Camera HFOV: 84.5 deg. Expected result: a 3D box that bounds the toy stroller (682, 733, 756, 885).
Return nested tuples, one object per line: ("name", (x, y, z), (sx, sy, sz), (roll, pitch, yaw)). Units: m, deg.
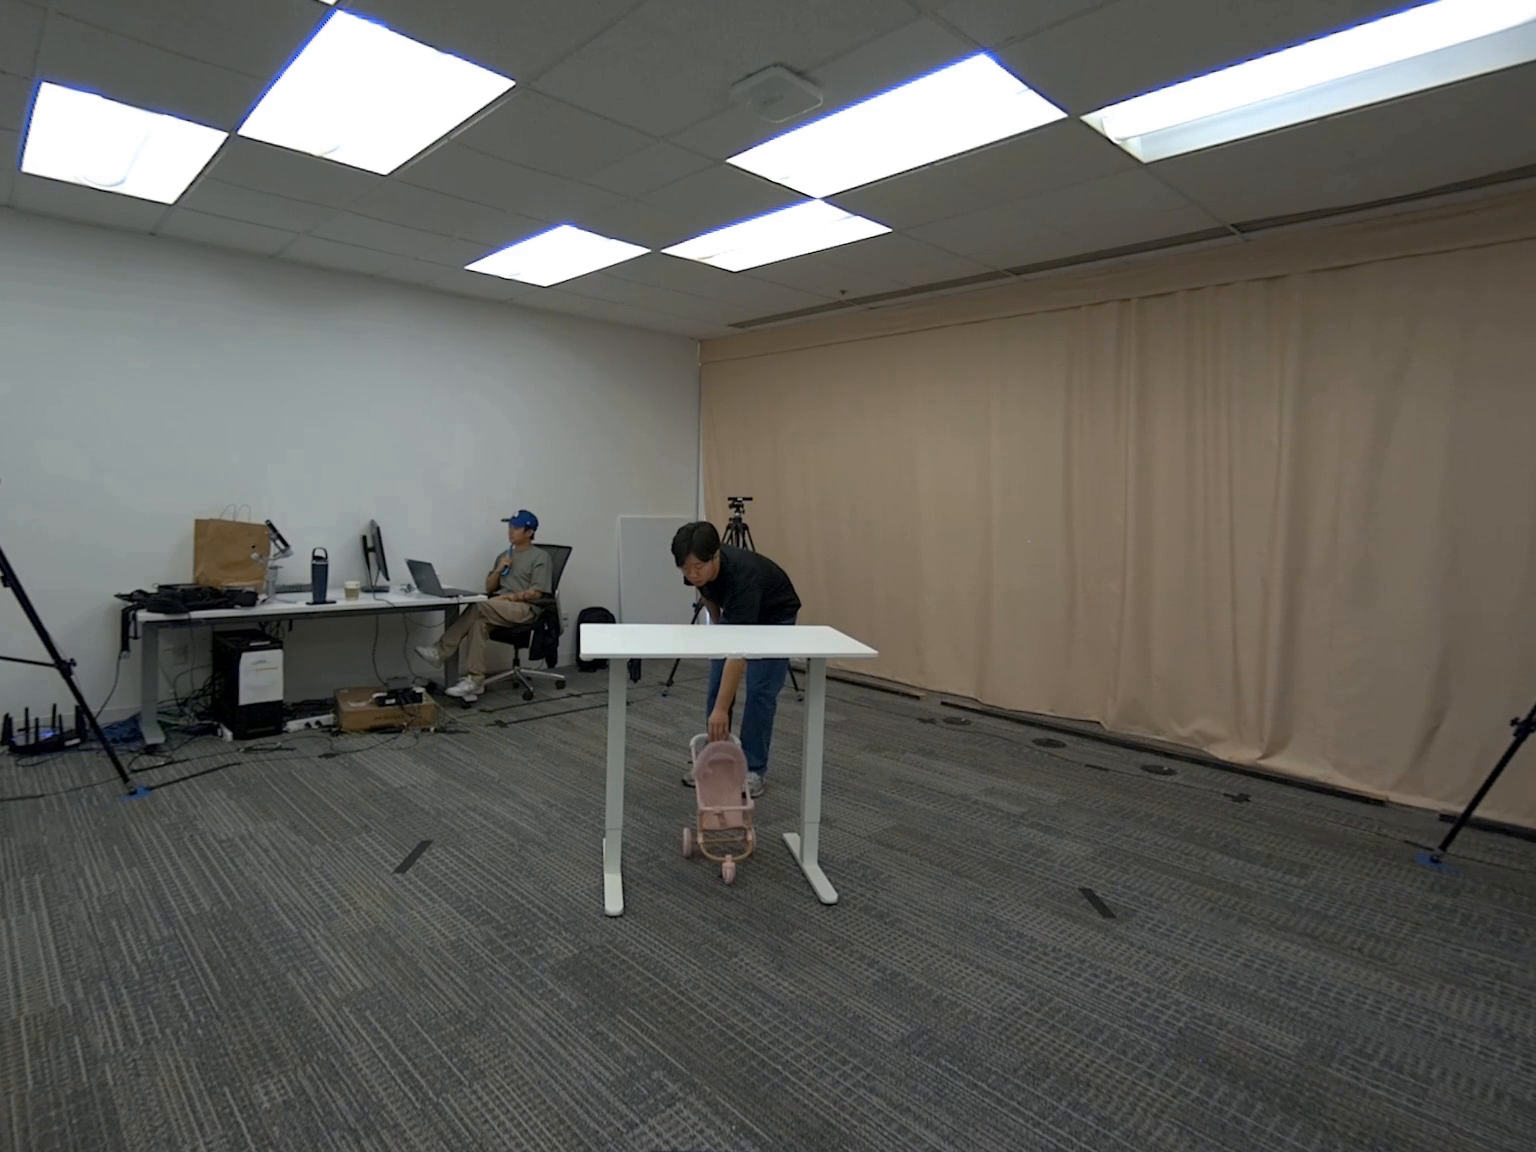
("toy stroller", (-0.189, 0.873, 3.215), (0.280, 0.540, 0.340), (0, -12, -7))
